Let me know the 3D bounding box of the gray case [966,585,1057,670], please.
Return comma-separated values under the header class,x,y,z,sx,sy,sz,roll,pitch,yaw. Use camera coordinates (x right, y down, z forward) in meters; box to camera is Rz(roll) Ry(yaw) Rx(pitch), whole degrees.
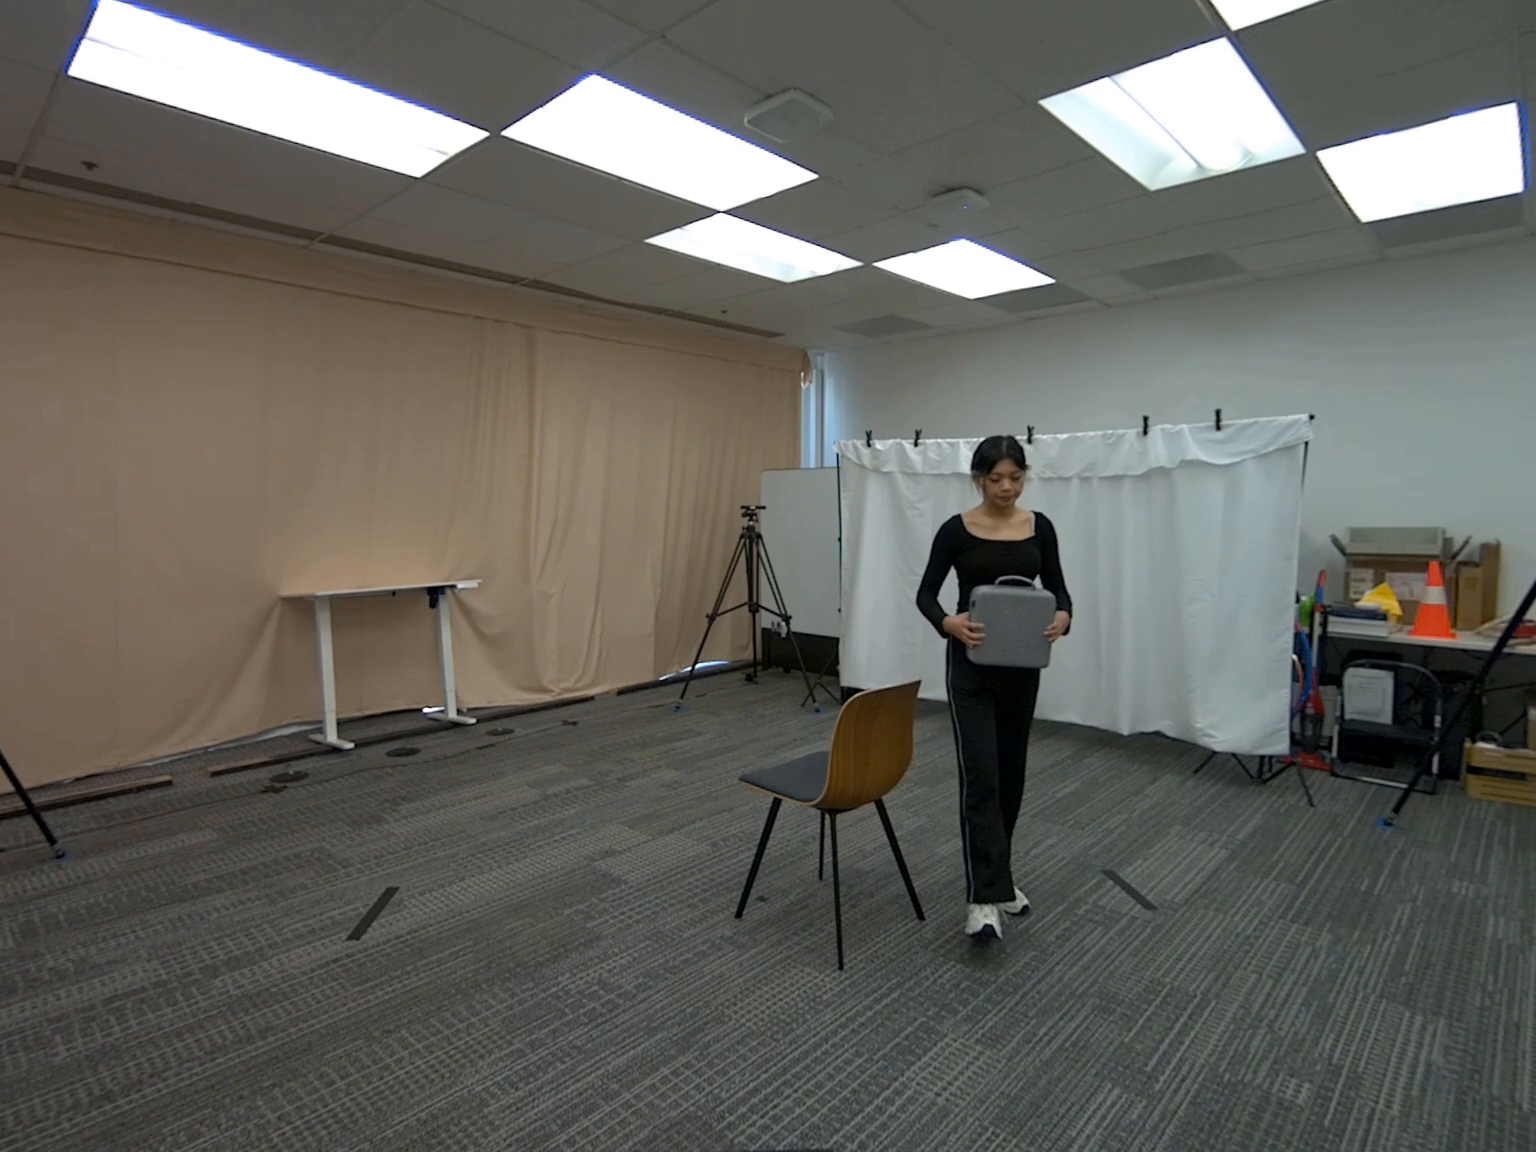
class,x,y,z,sx,sy,sz,roll,pitch,yaw
gray case,0.783,0.159,2.711,0.259,0.259,0.104,4,8,6
